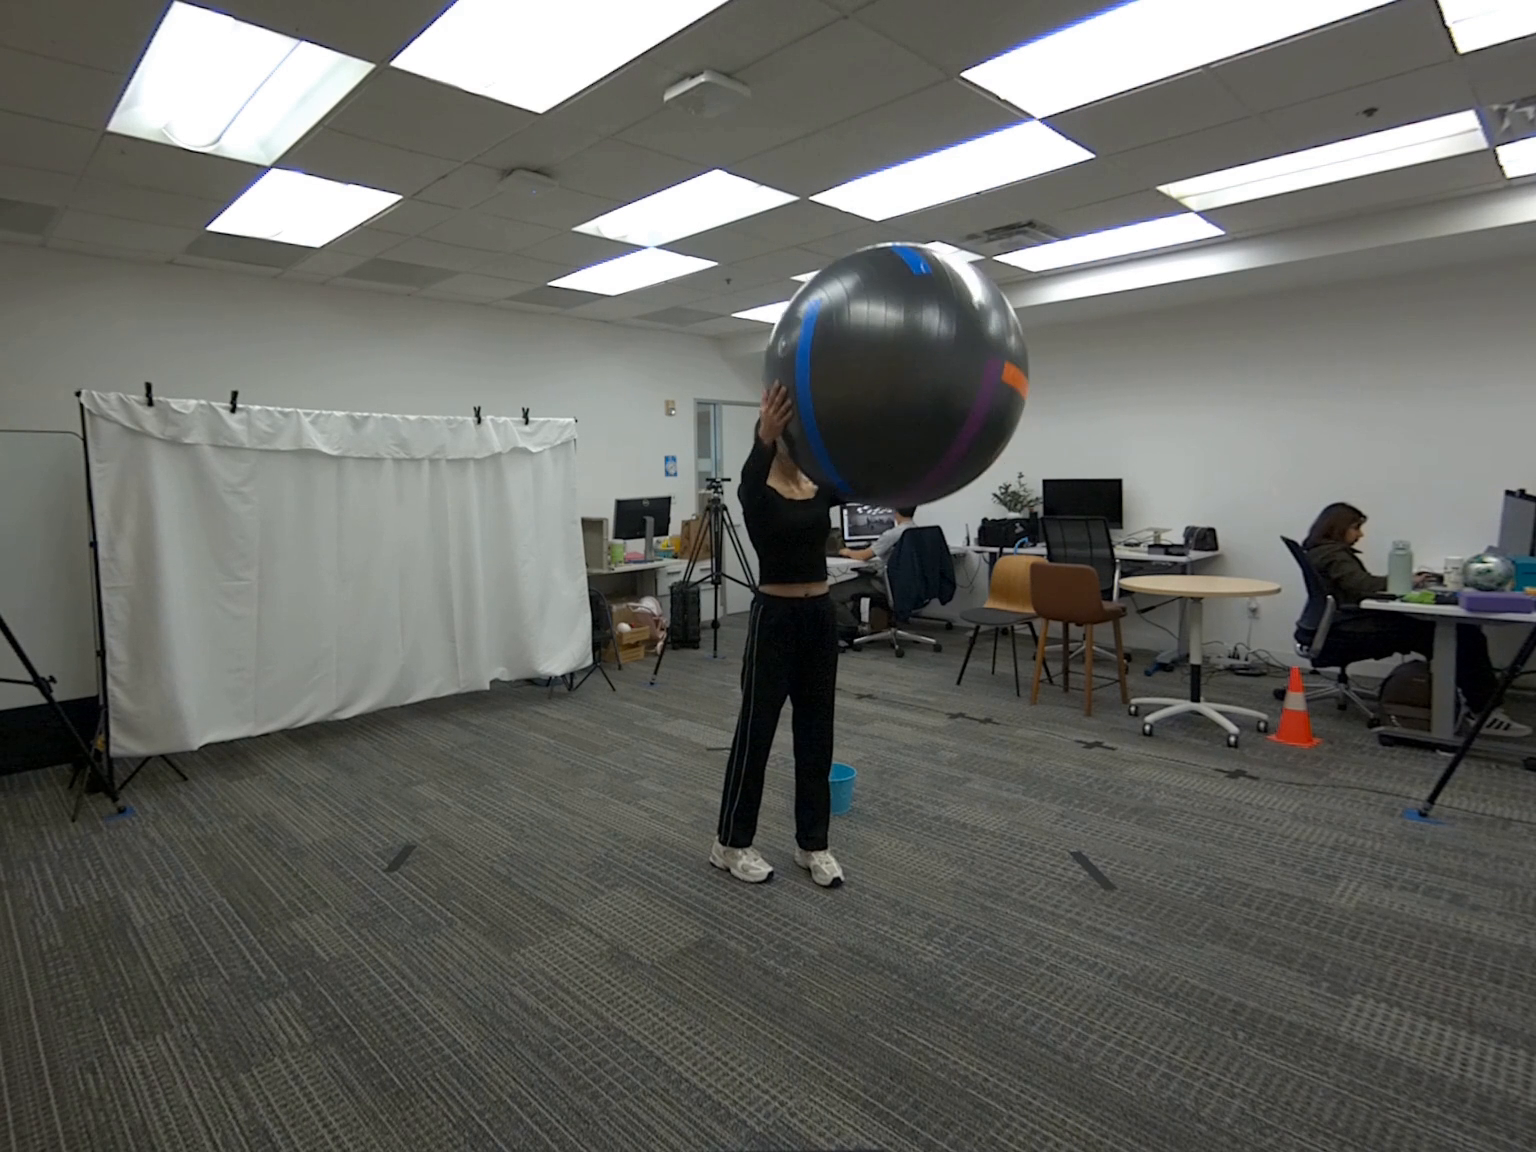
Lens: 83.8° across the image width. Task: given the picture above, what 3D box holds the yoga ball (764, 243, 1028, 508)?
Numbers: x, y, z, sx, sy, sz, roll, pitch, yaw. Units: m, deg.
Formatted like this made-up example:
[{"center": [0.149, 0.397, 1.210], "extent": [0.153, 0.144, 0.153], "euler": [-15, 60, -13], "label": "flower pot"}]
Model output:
[{"center": [0.368, -0.563, 2.505], "extent": [0.757, 0.755, 0.762], "euler": [-1, 5, -2], "label": "yoga ball"}]
